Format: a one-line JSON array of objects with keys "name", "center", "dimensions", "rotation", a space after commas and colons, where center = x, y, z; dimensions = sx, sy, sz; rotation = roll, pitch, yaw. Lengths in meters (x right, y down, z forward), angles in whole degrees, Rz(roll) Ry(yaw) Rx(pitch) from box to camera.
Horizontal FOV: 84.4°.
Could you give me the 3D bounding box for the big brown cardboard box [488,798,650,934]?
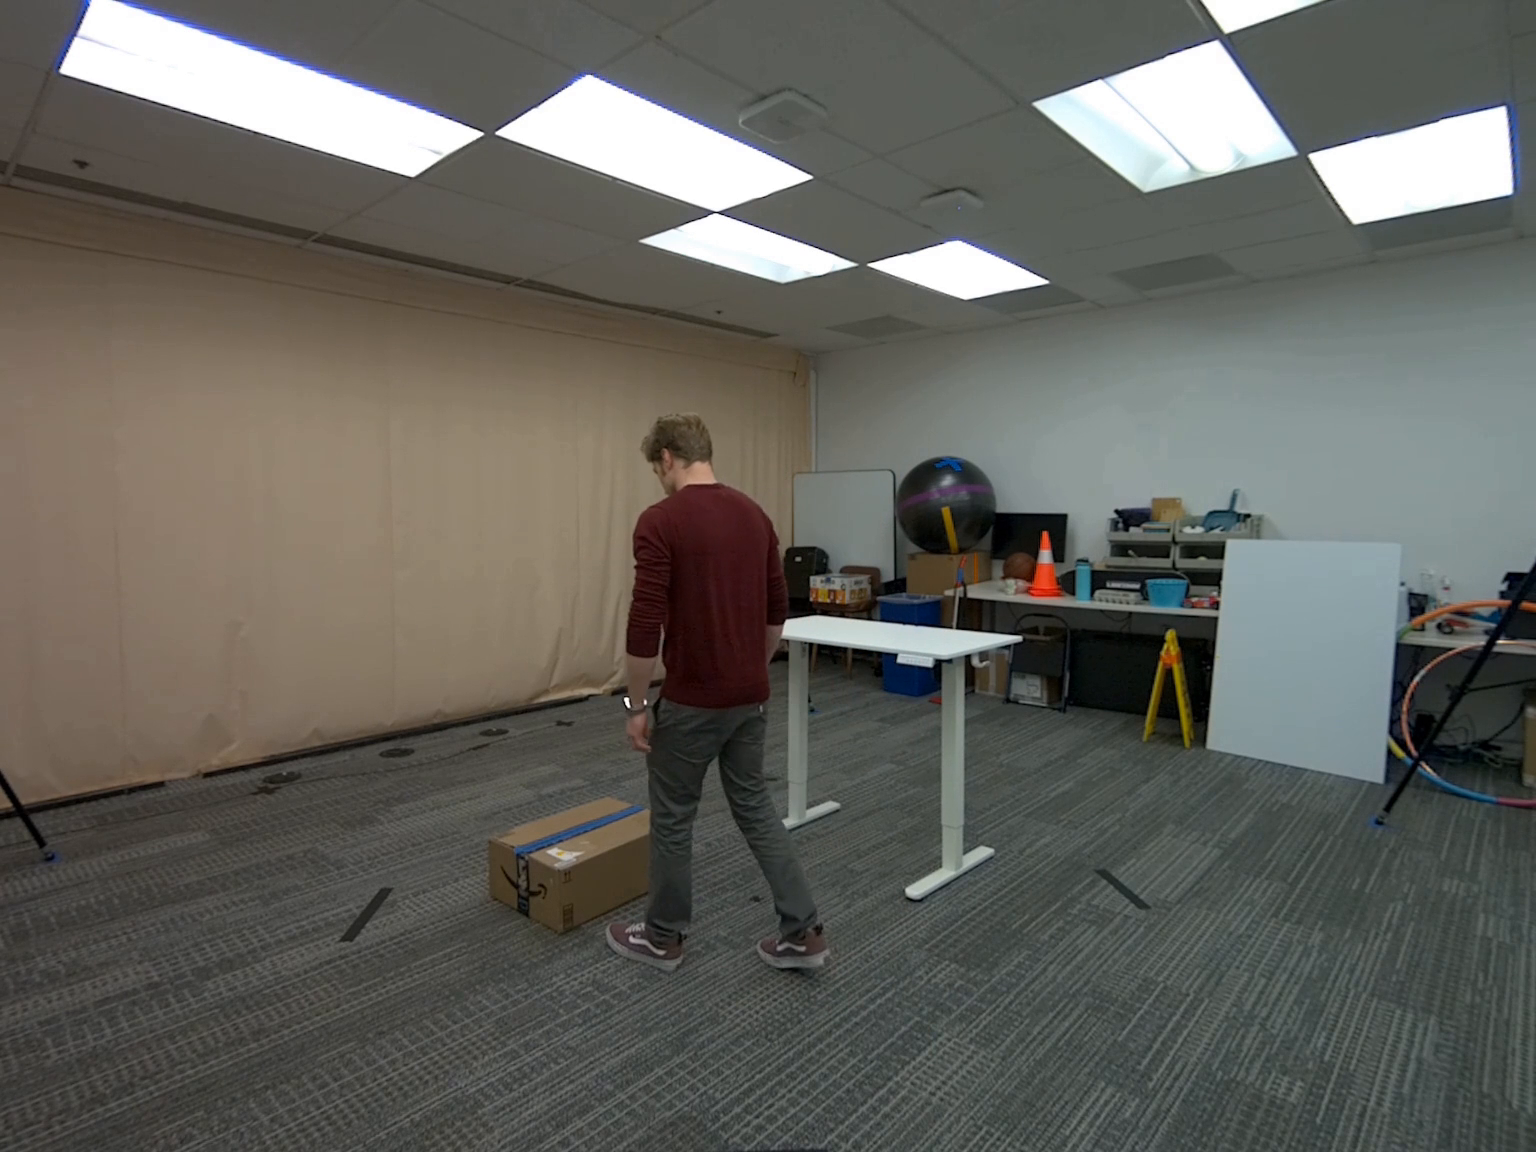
[{"name": "big brown cardboard box", "center": [-0.669, 1.032, 3.078], "dimensions": [0.431, 0.233, 0.571], "rotation": [3, 5, 39]}]
